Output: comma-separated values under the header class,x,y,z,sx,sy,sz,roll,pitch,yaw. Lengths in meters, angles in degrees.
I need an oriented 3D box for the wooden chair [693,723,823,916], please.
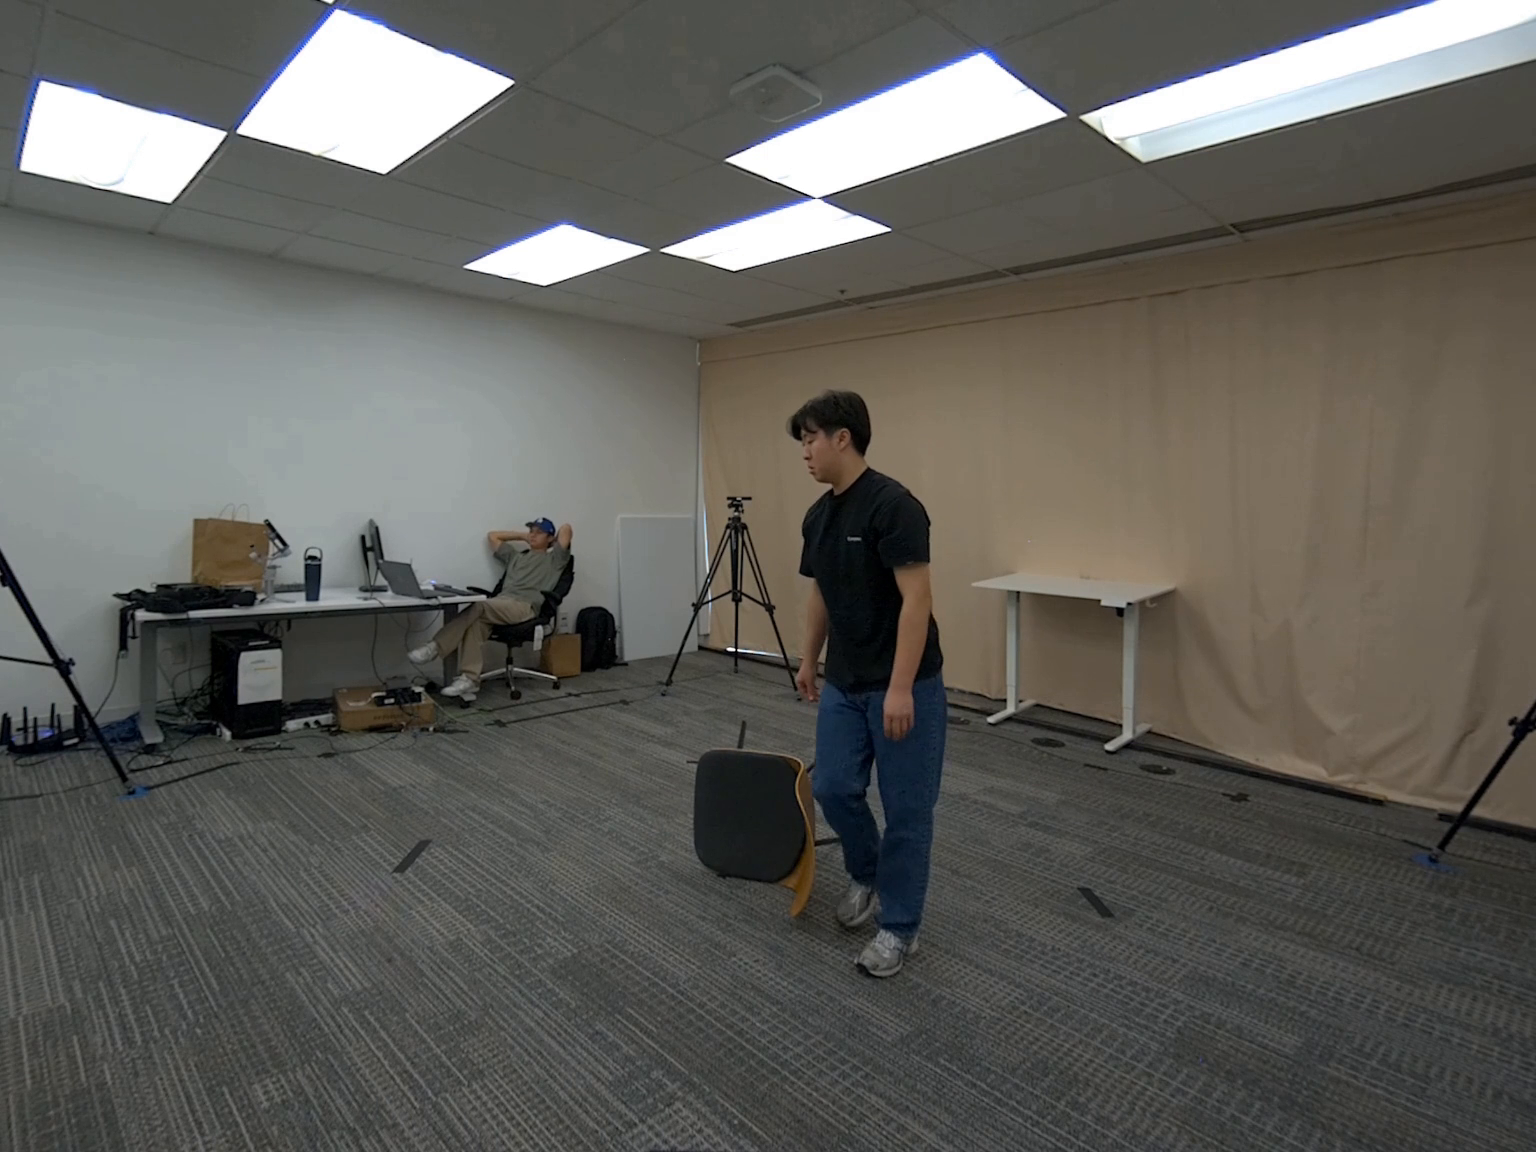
class,x,y,z,sx,sy,sz,roll,pitch,yaw
wooden chair,-0.023,0.876,3.104,0.529,0.477,0.870,3,5,12
